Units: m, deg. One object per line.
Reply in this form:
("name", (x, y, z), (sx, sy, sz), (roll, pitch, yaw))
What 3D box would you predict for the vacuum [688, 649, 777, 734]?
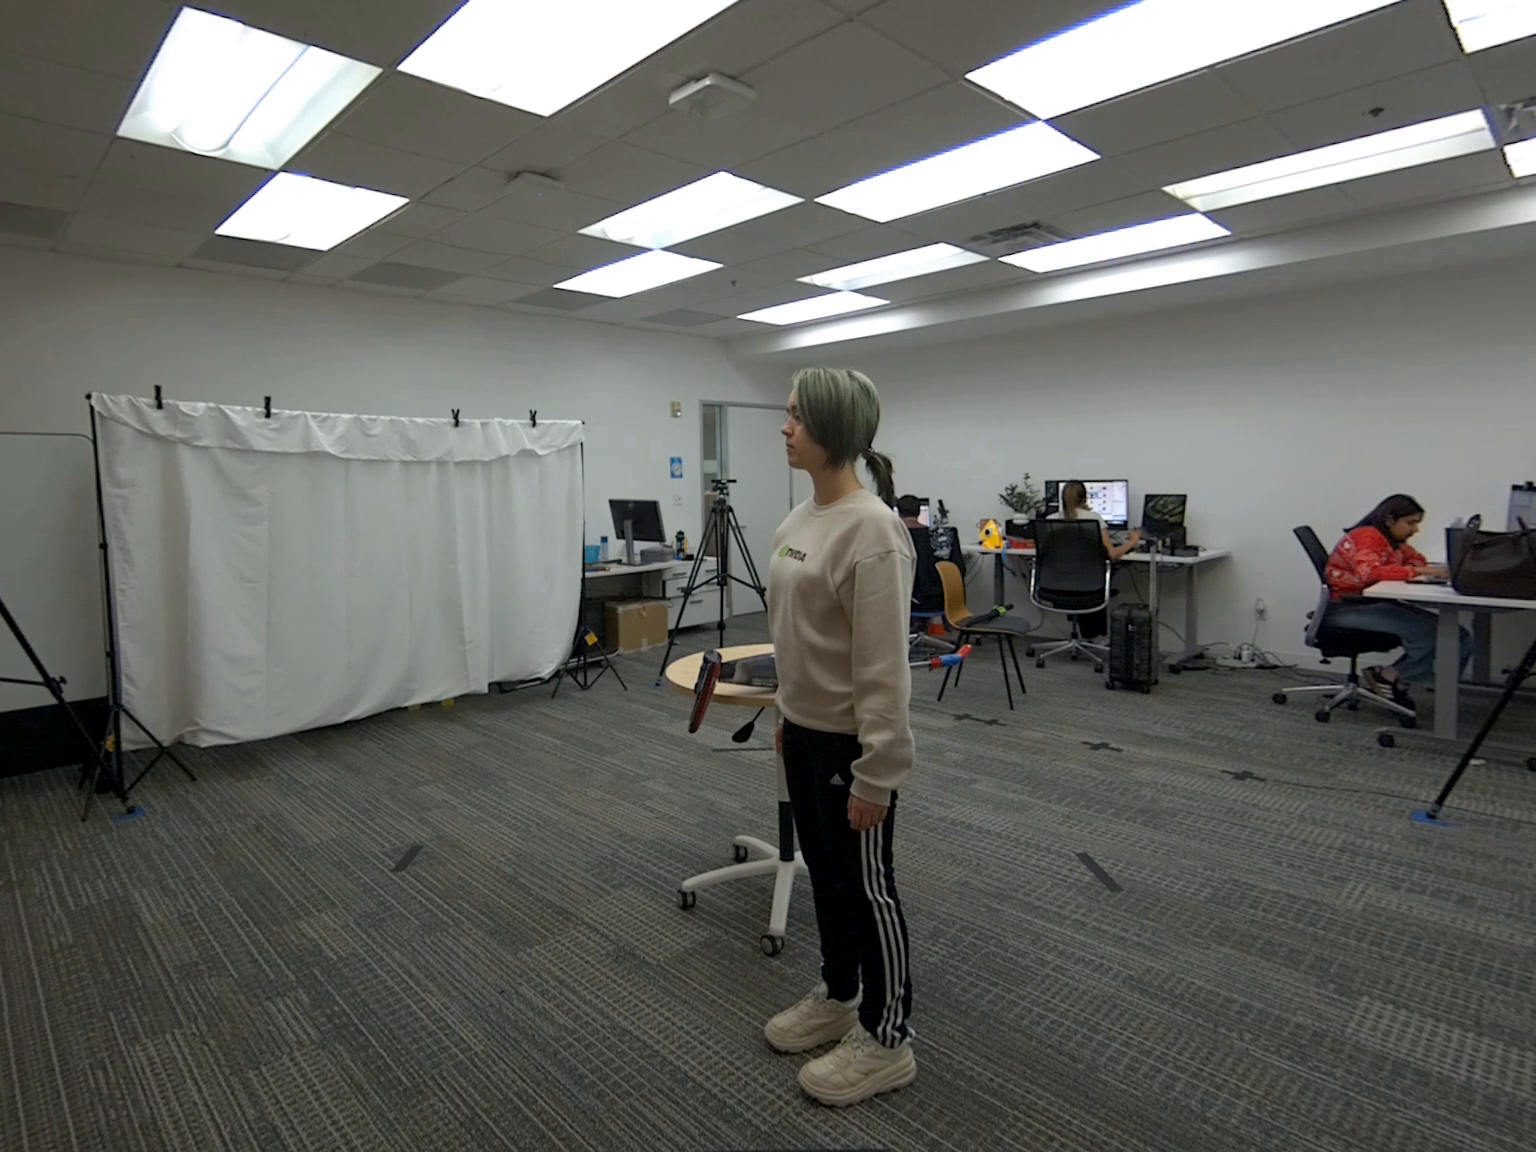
("vacuum", (0.253, 0.274, 2.623), (1.024, 0.249, 0.150), (-4, 35, -31))
